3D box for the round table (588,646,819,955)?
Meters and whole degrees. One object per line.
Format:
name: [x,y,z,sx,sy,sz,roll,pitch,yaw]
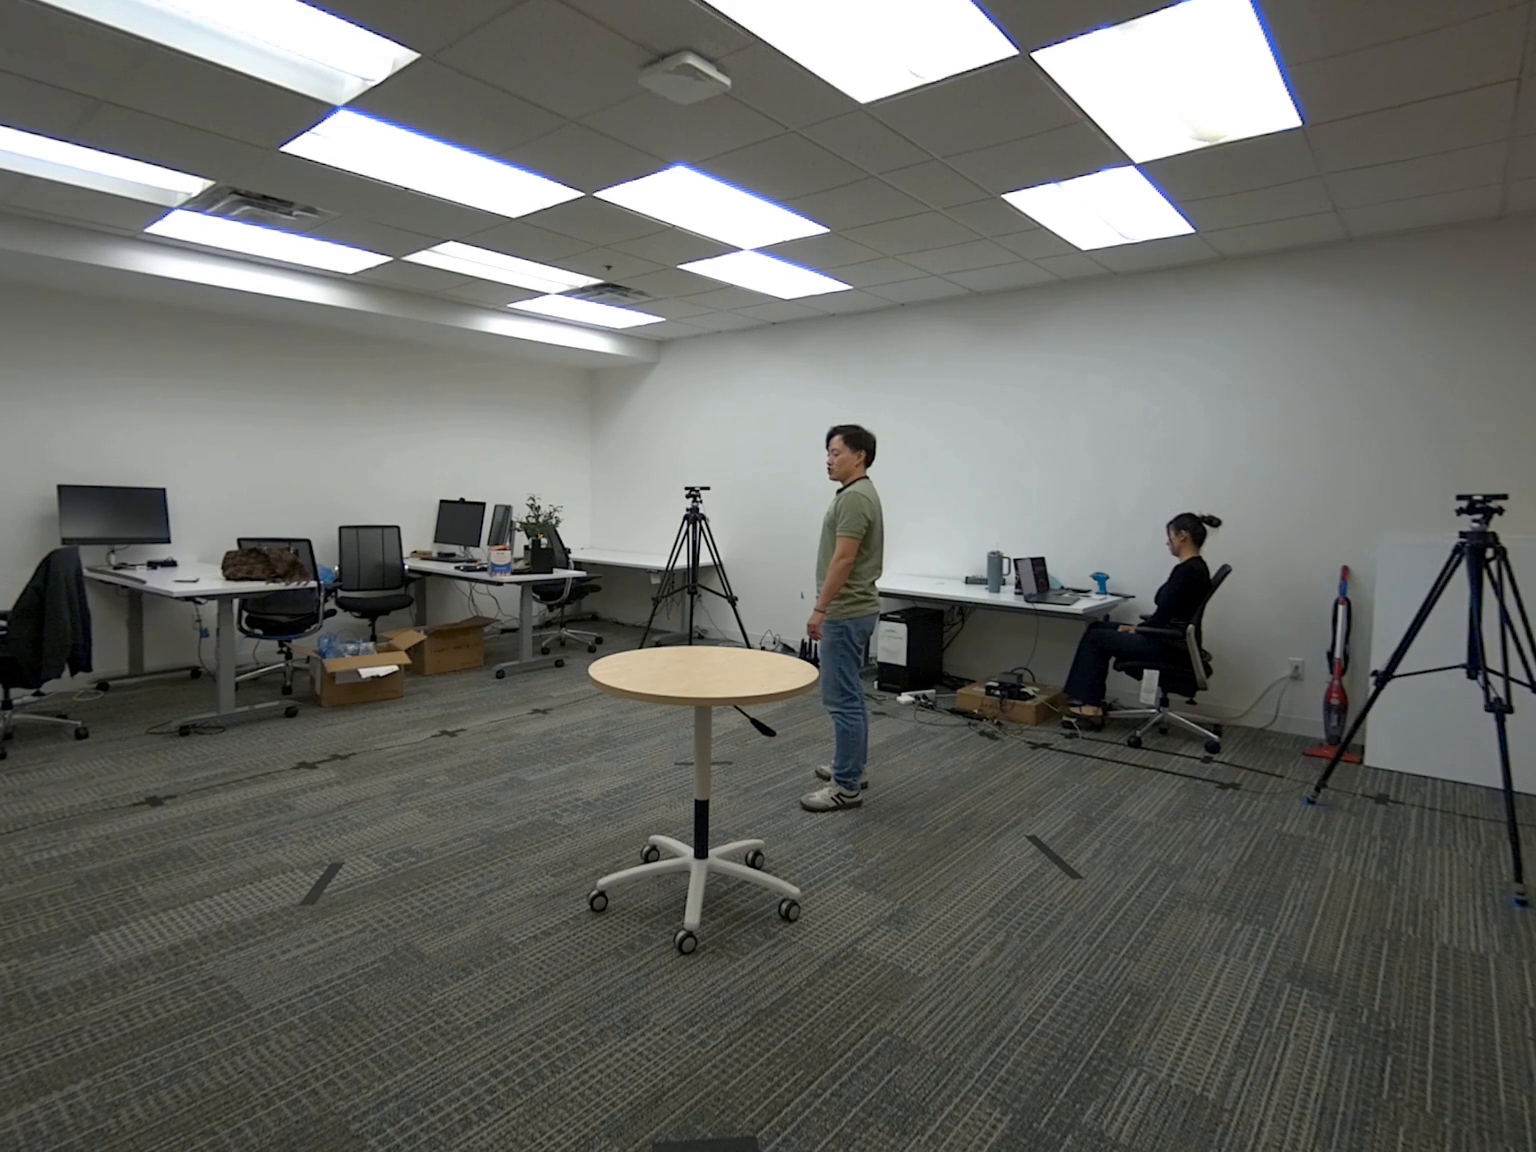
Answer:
round table: [-0.233,0.700,2.866,0.763,0.791,0.768,1,5,-2]
